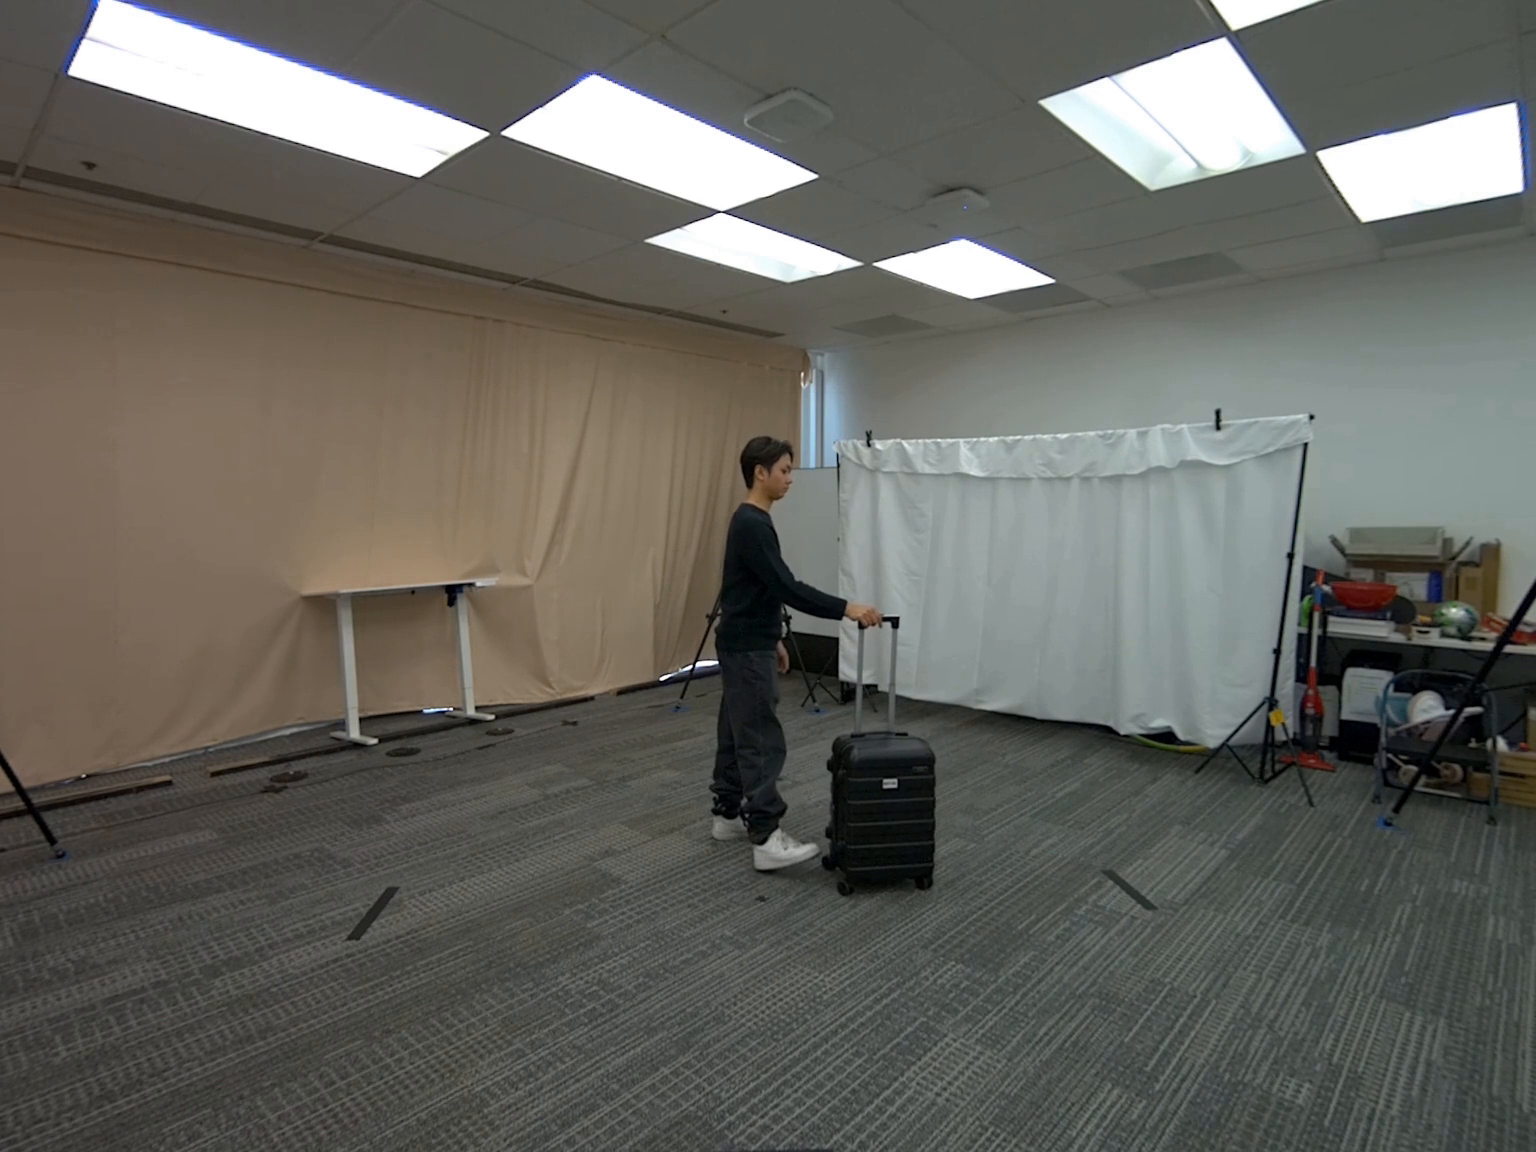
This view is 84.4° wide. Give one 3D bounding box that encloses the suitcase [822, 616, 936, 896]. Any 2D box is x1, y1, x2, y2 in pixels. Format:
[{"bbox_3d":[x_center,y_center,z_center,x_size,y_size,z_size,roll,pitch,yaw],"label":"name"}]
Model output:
[{"bbox_3d":[0.434,0.657,3.085,0.381,0.976,0.260,1,4,-8],"label":"suitcase"}]
